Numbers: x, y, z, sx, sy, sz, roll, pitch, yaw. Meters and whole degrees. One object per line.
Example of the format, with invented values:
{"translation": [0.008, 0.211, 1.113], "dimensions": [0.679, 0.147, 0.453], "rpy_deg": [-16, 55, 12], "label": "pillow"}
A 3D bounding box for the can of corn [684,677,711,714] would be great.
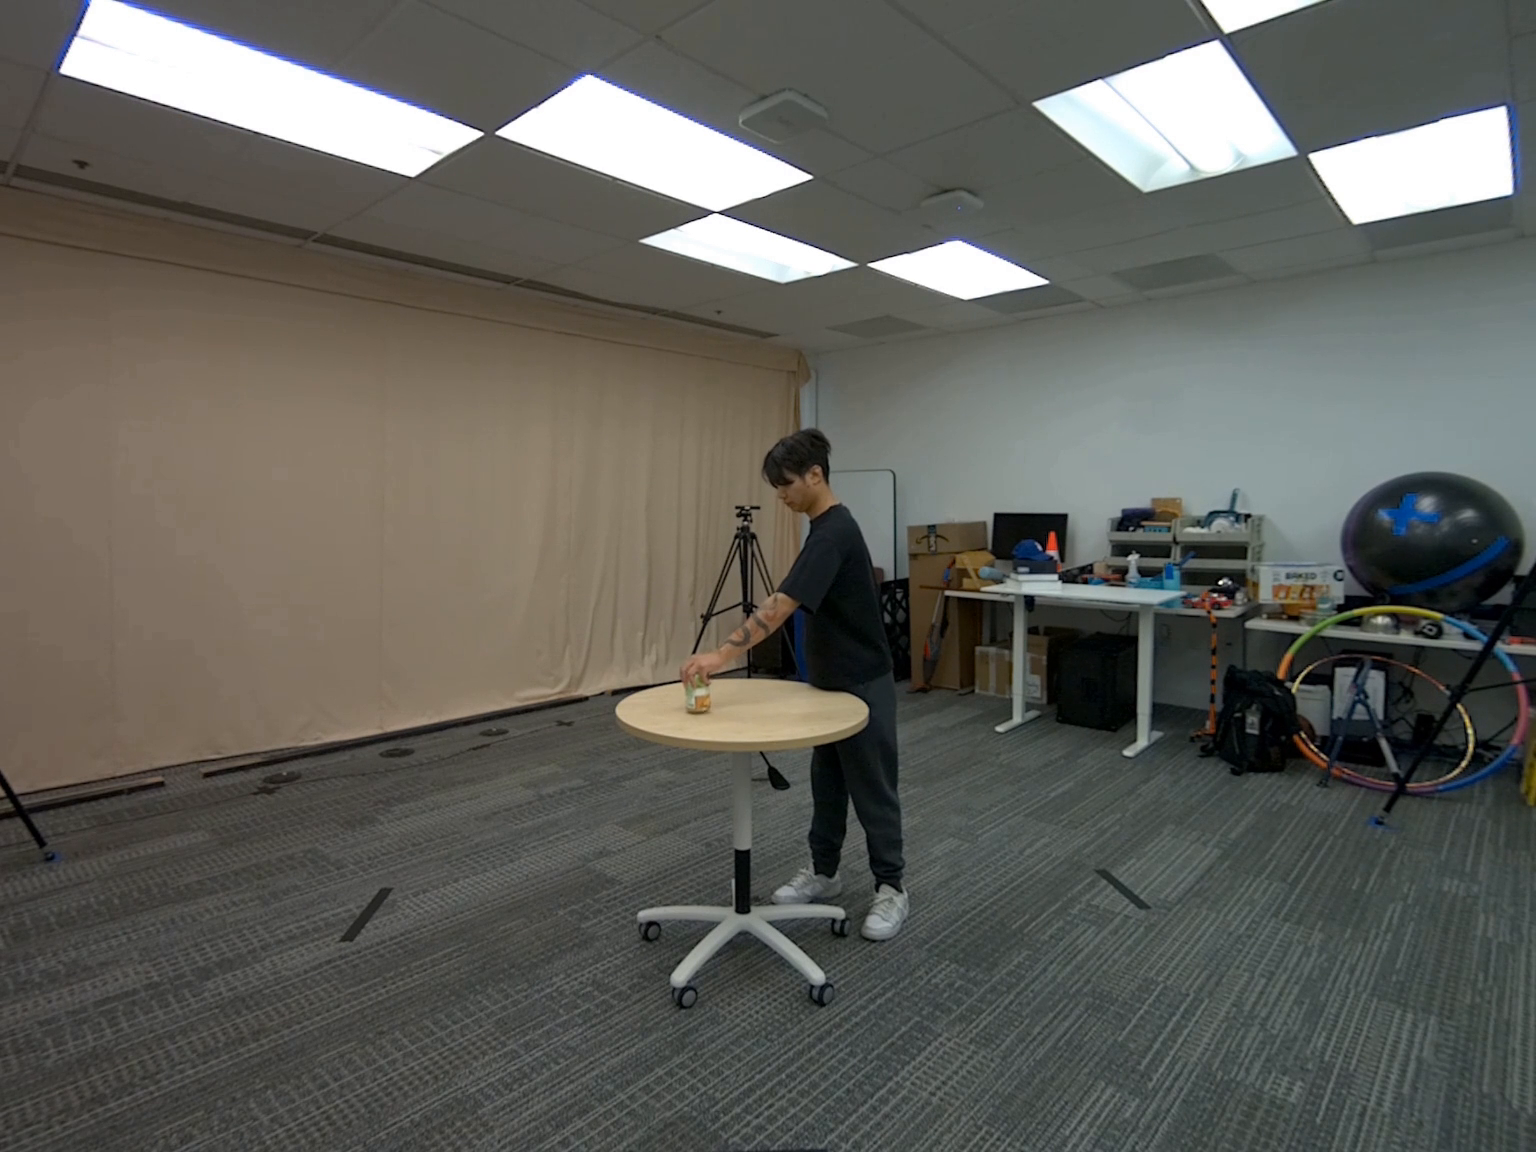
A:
{"translation": [-0.204, 0.337, 2.488], "dimensions": [0.074, 0.111, 0.074], "rpy_deg": [-2, 4, -2], "label": "can of corn"}
